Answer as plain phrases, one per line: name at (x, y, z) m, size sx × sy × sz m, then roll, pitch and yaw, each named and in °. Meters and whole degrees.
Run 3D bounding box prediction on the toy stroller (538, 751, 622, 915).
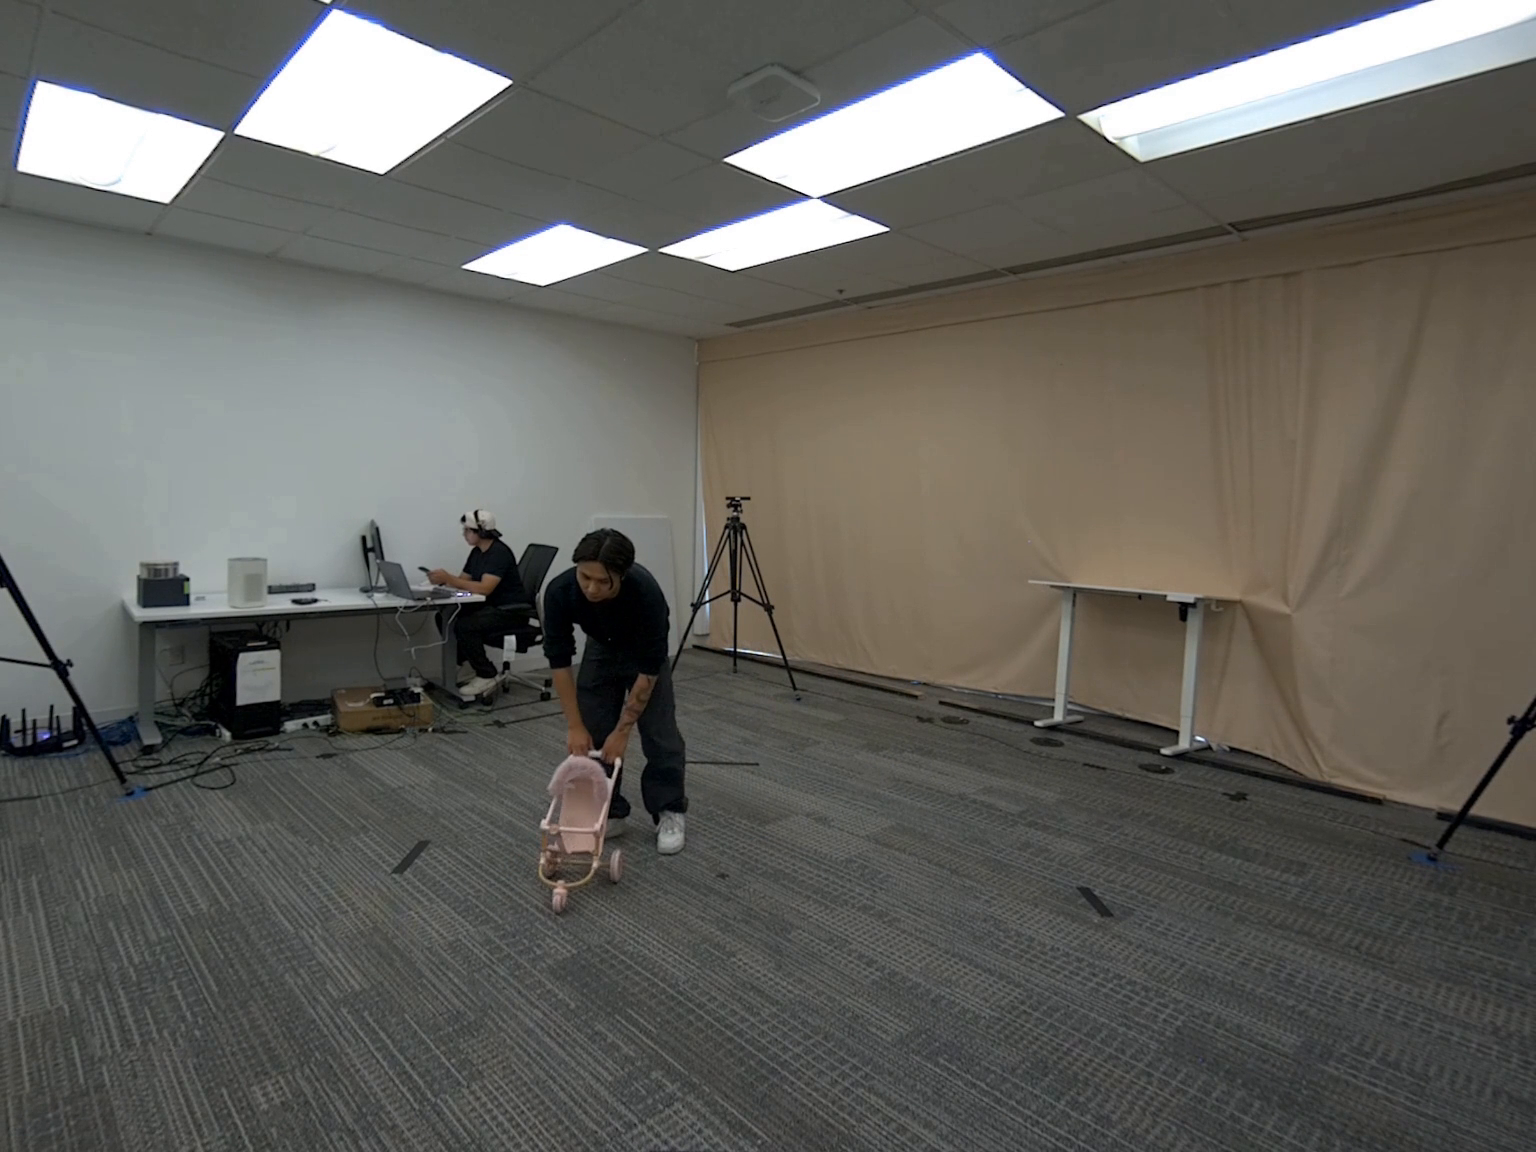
toy stroller at (-0.679, 0.885, 2.987) m, size 0.284 × 0.540 × 0.335 m, roll 1°, pitch -13°, yaw 9°
